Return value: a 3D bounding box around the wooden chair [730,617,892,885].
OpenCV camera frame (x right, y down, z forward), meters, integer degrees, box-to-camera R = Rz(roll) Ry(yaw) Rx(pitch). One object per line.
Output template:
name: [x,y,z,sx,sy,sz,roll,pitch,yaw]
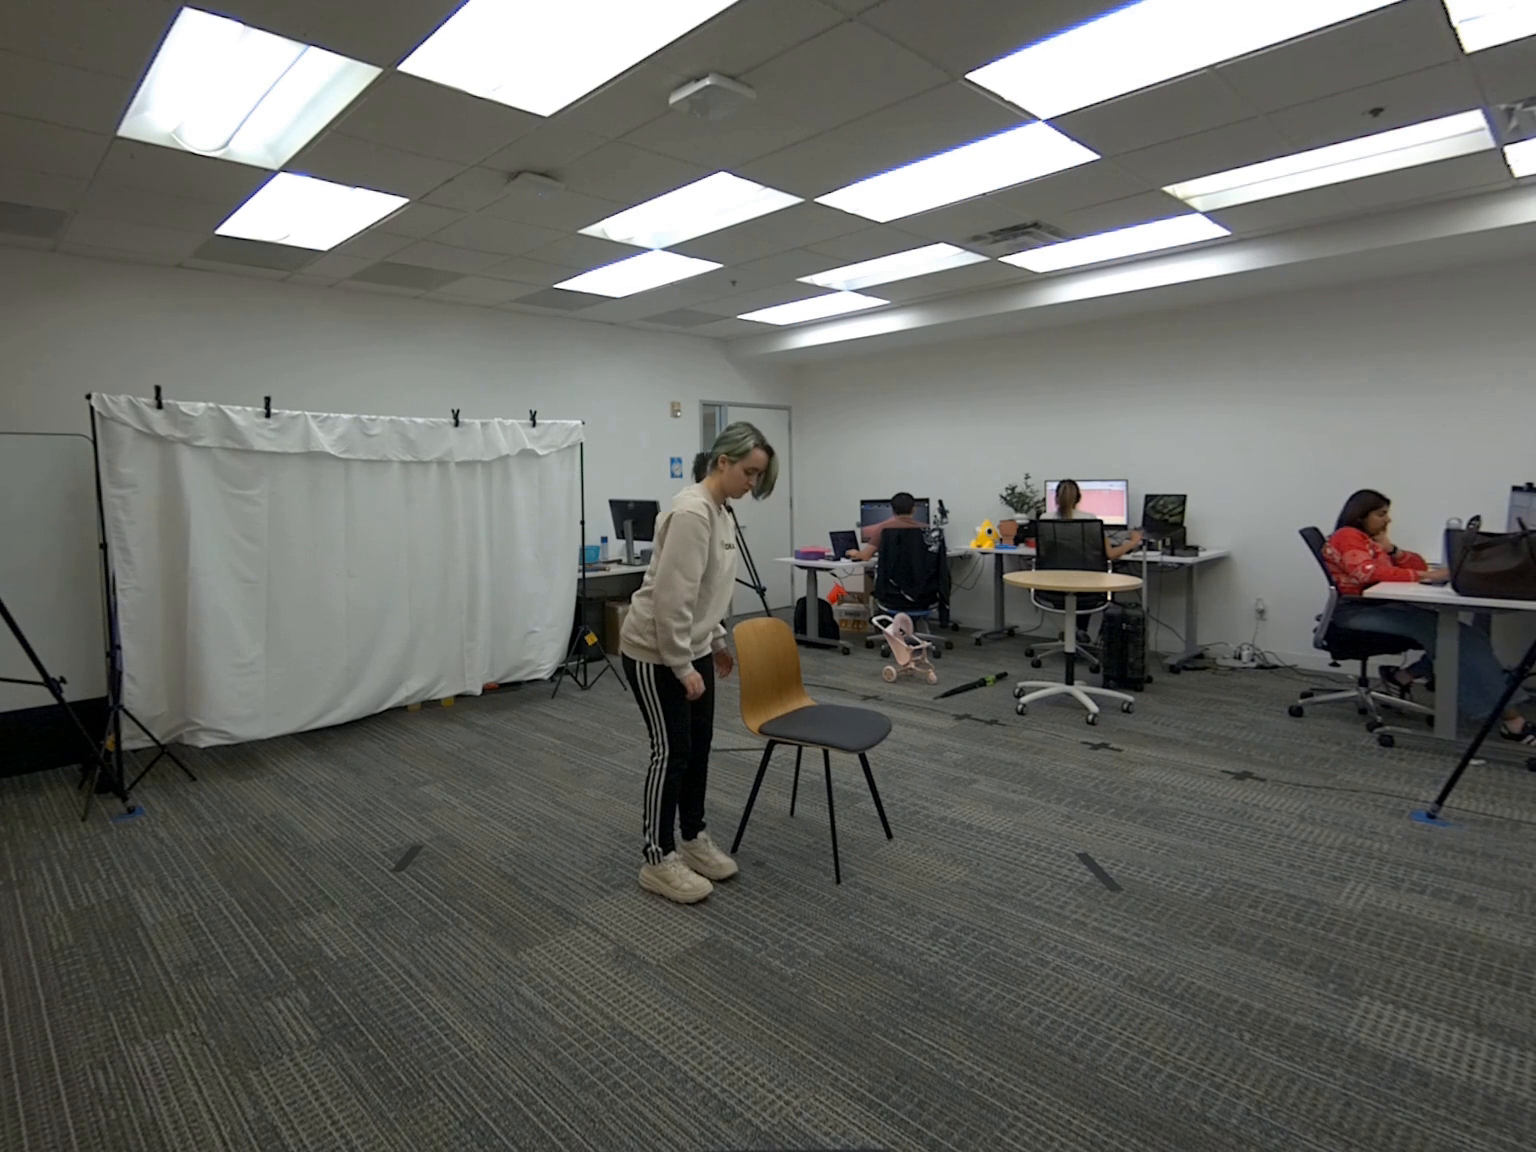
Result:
wooden chair: [0.175,0.604,3.216,0.537,0.876,0.466,-3,2,34]
